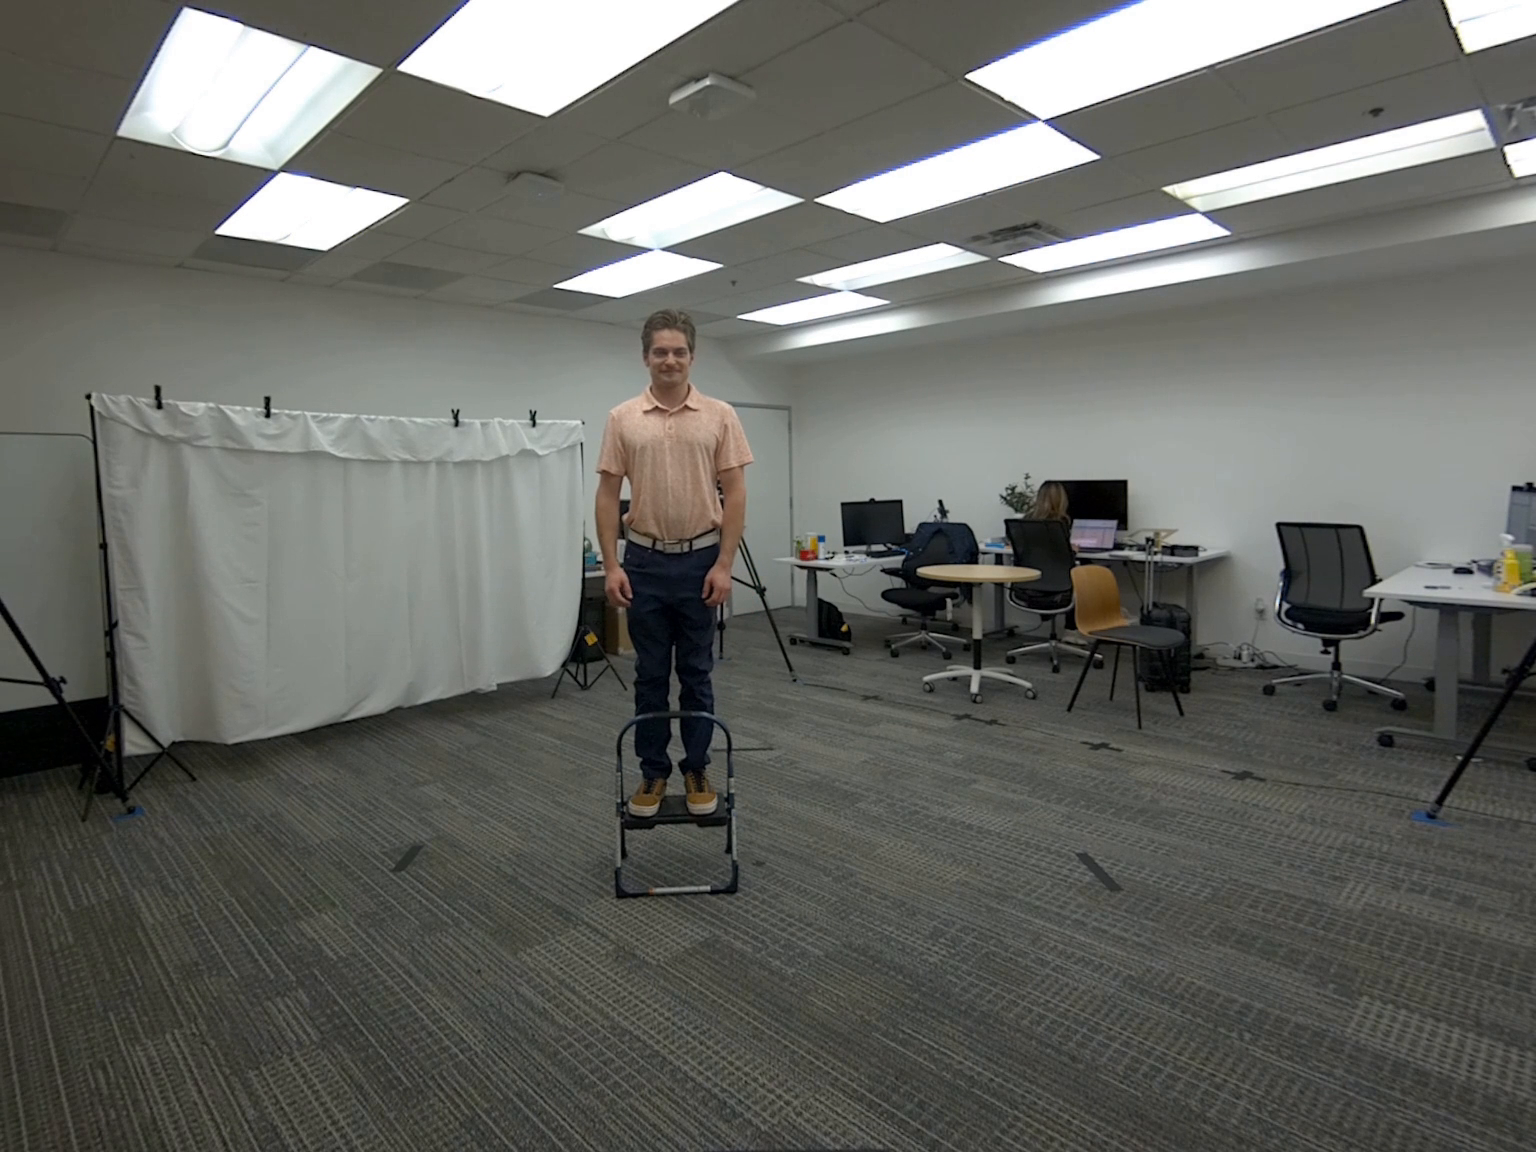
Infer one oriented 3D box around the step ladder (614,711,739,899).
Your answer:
[{"bbox_3d":[-0.328,0.762,3.027,0.429,0.604,0.352,-1,3,-5],"label":"step ladder"}]
